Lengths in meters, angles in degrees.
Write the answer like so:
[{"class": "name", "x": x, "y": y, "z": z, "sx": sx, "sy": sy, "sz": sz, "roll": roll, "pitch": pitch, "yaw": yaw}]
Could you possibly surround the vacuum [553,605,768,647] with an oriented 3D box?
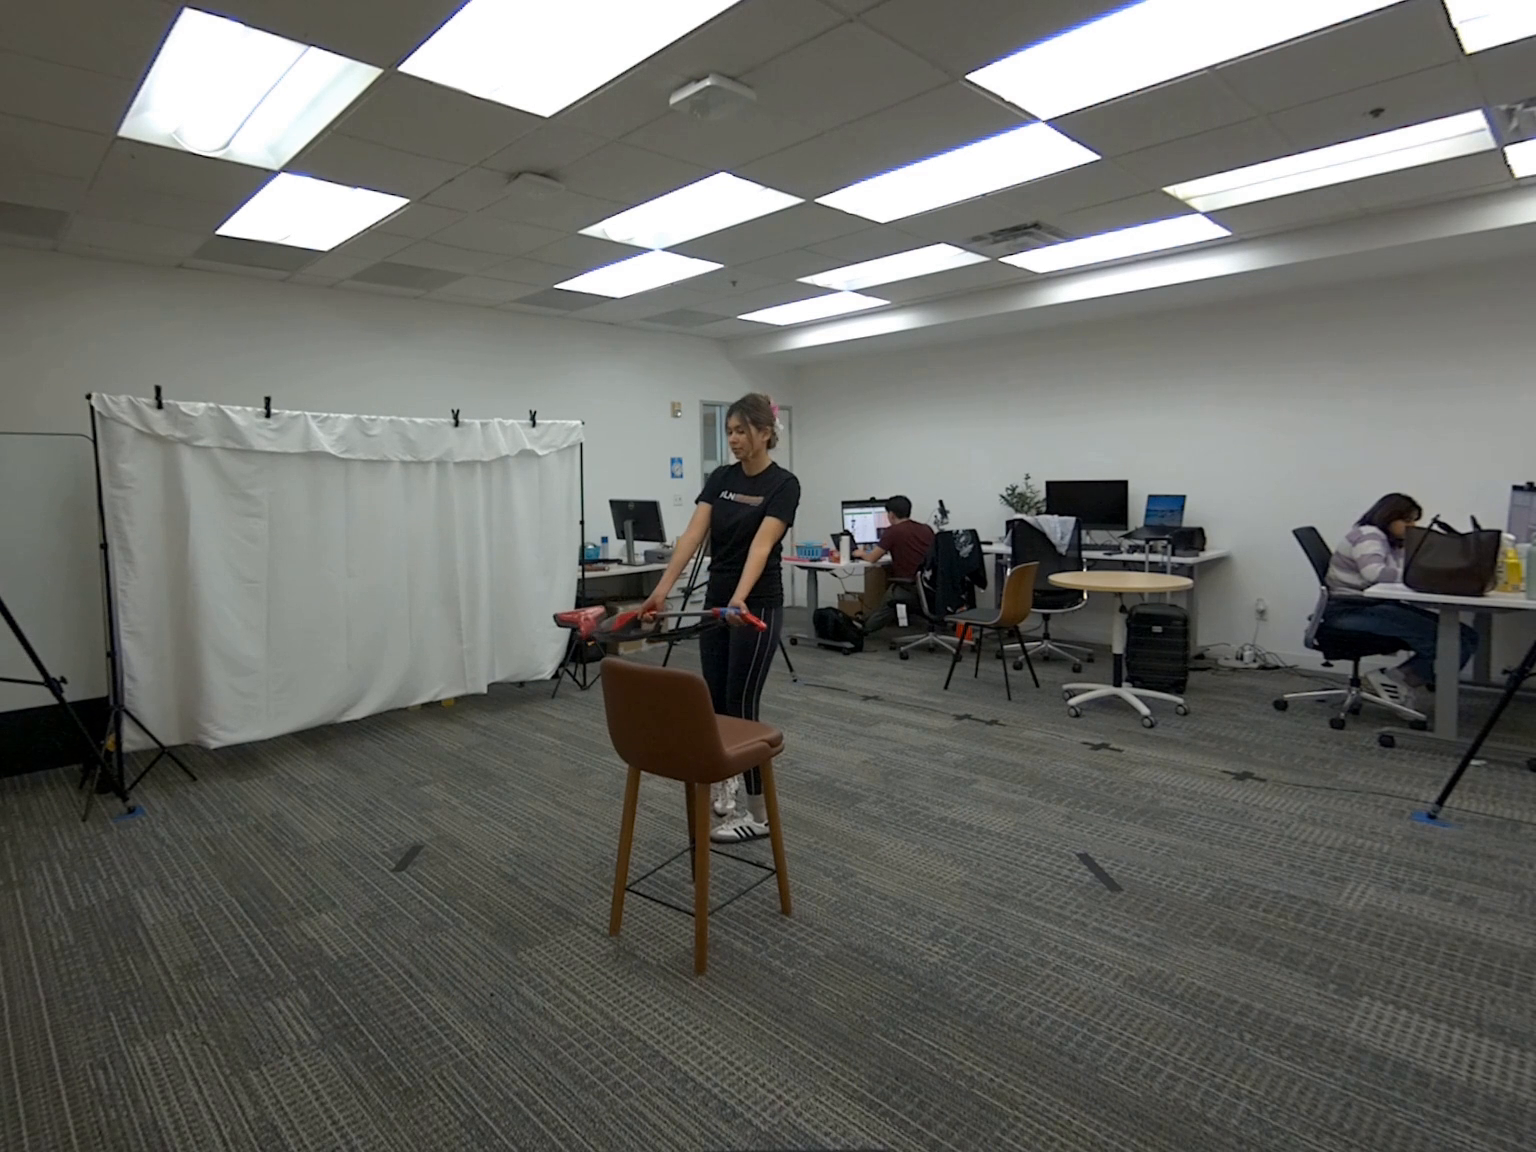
[{"class": "vacuum", "x": -0.407, "y": 0.196, "z": 3.209, "sx": 0.246, "sy": 0.143, "sz": 1.078, "roll": -11, "pitch": 6, "yaw": -44}]
